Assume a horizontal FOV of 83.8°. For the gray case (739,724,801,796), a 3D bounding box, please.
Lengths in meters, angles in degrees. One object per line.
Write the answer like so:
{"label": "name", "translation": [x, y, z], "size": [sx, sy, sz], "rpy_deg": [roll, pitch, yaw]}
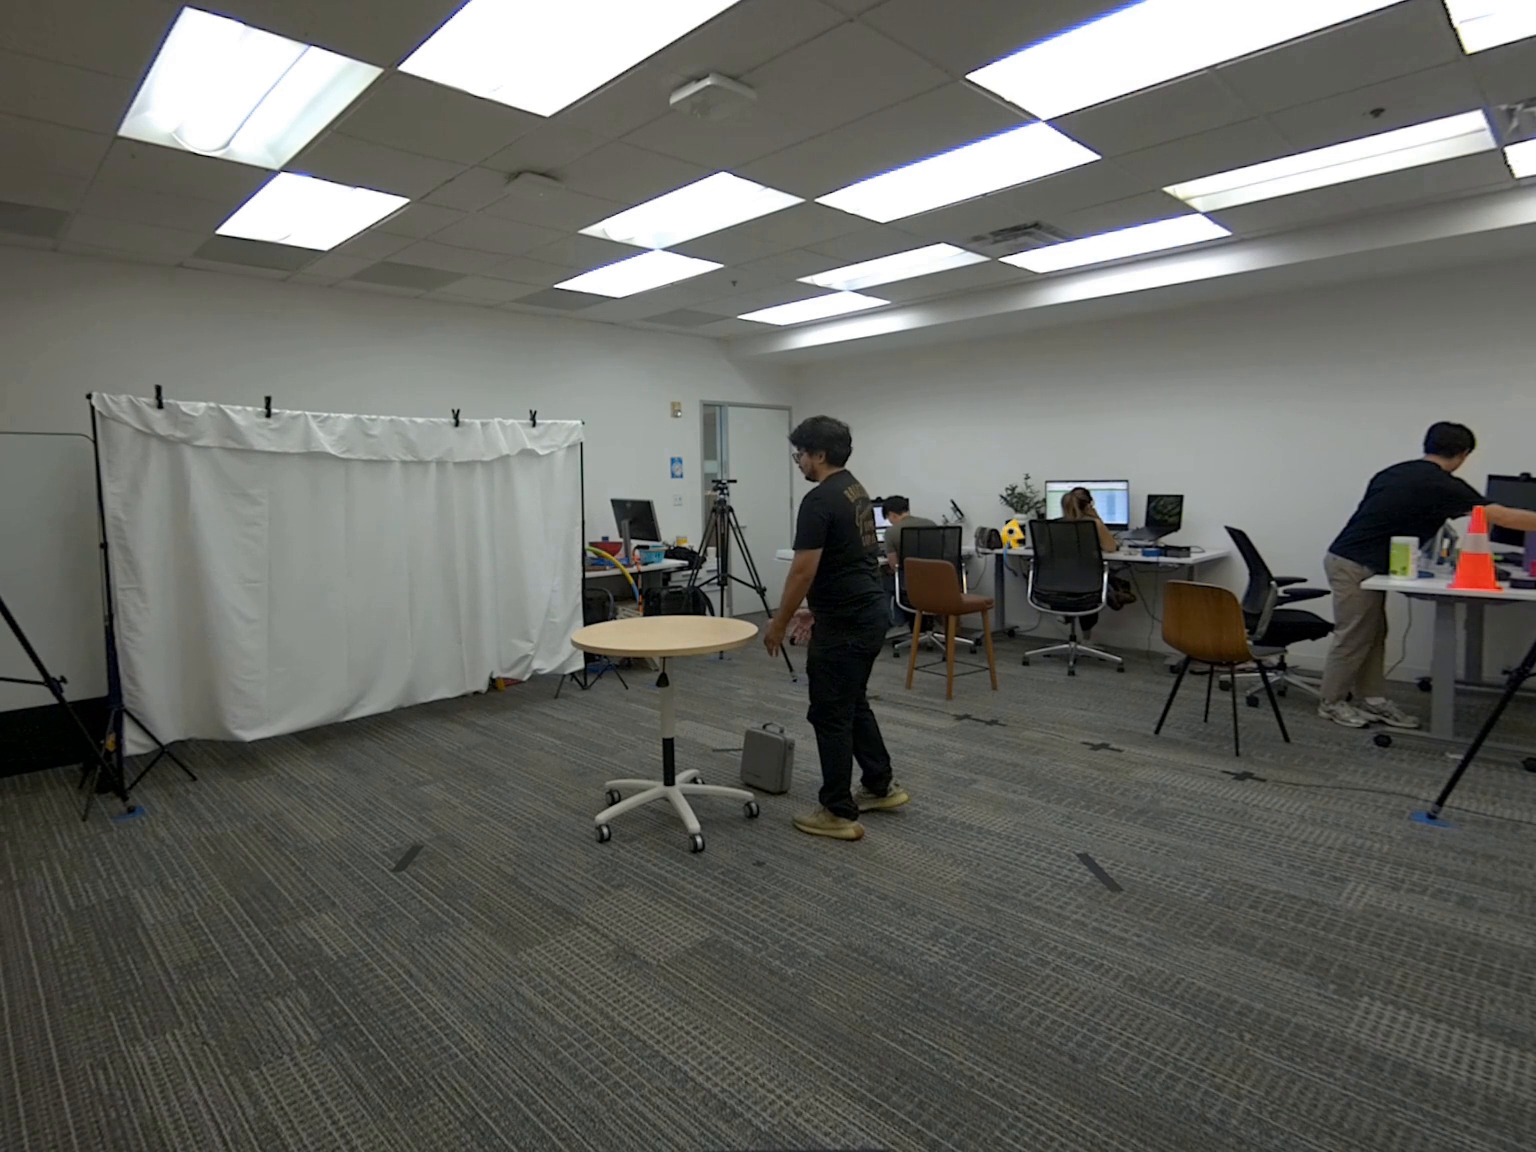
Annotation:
{"label": "gray case", "translation": [0.003, 0.828, 3.889], "size": [0.101, 0.261, 0.264], "rpy_deg": [9, -5, -41]}
